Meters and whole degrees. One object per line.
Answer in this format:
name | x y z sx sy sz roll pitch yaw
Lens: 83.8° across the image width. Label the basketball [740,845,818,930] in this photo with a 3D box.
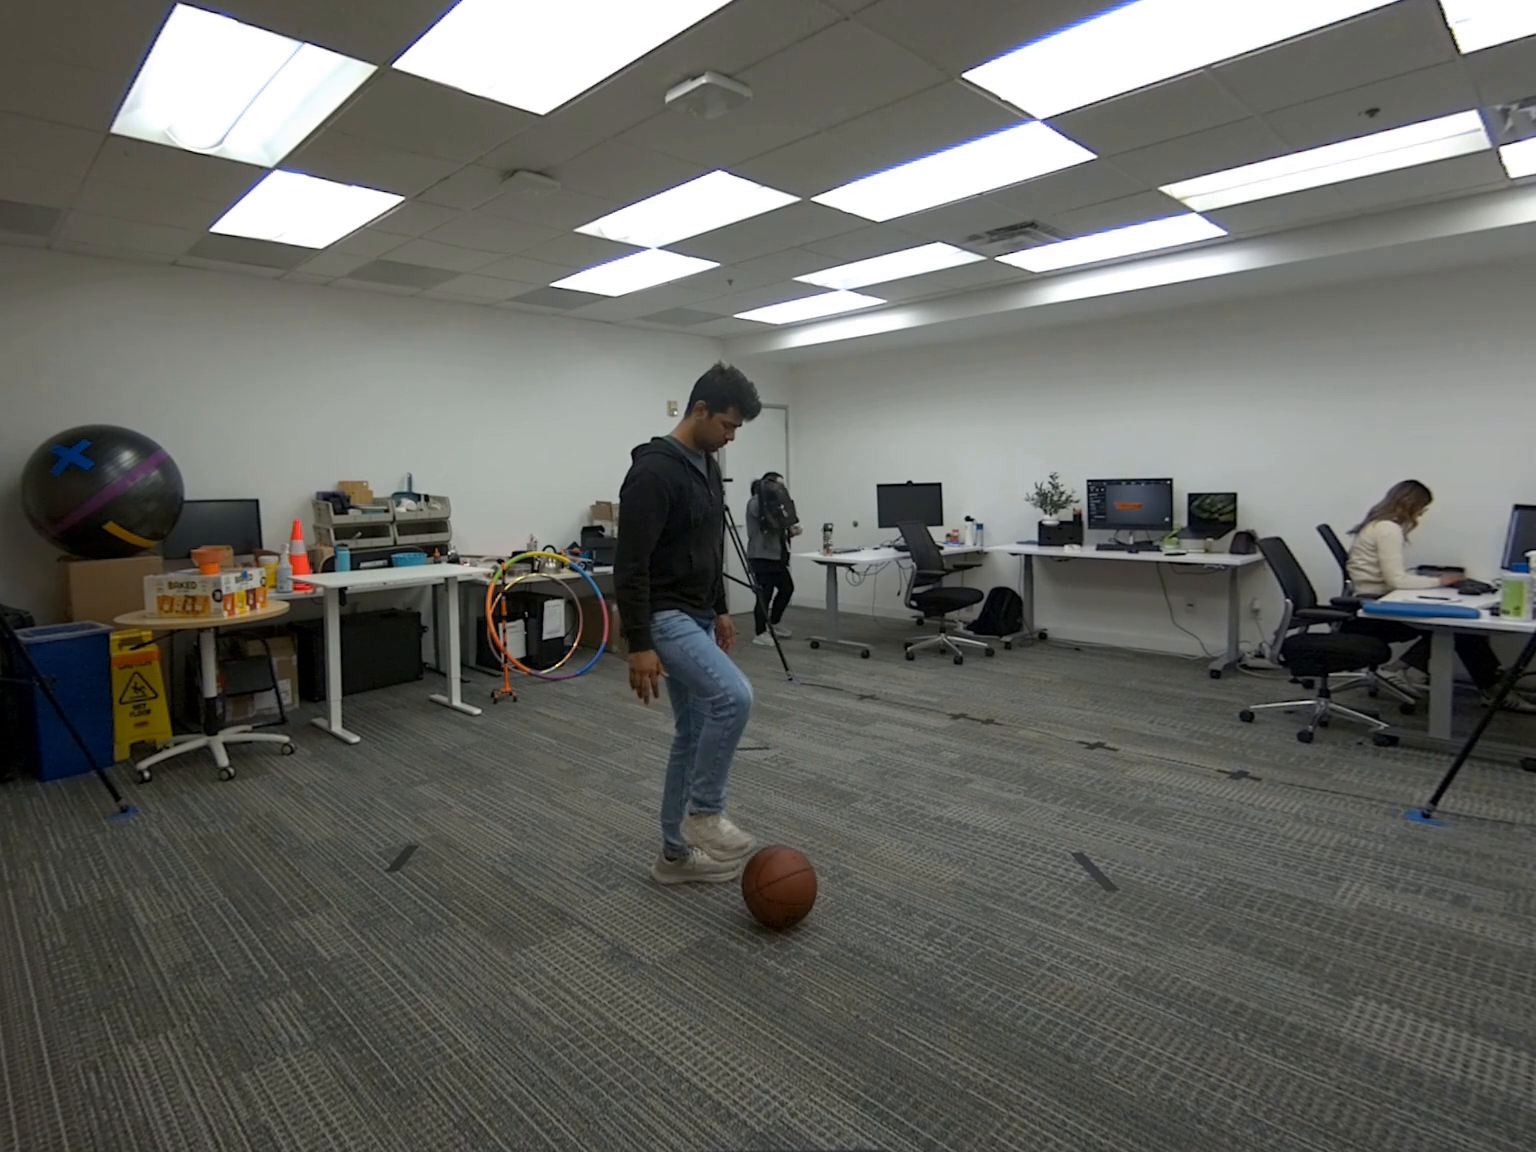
basketball | 0.038 0.966 2.684 0.236 0.235 0.237 -1 5 -2
